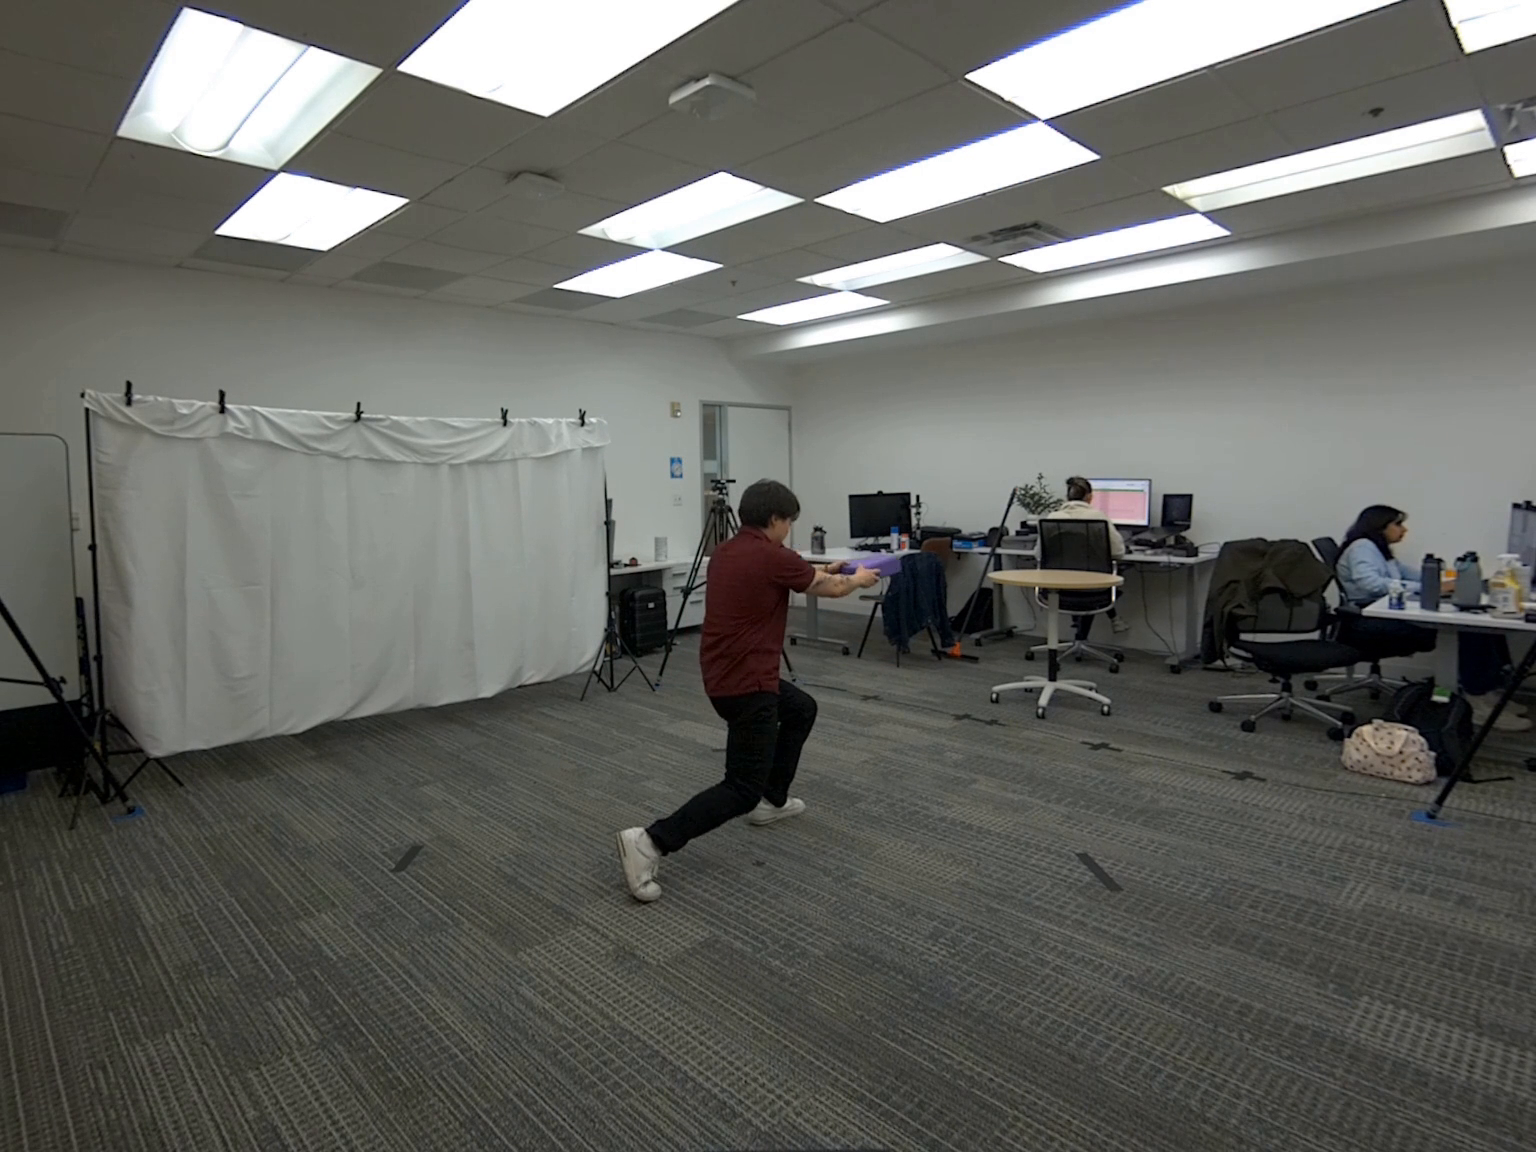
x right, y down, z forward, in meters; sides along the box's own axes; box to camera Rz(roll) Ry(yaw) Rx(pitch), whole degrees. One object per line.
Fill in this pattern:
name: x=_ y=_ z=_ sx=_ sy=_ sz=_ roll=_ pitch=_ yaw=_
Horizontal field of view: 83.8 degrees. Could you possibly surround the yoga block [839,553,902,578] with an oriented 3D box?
yoga block: x=0.438 y=-0.022 z=3.739 sx=0.225 sy=0.075 sz=0.153 roll=-17 pitch=14 yaw=-34
